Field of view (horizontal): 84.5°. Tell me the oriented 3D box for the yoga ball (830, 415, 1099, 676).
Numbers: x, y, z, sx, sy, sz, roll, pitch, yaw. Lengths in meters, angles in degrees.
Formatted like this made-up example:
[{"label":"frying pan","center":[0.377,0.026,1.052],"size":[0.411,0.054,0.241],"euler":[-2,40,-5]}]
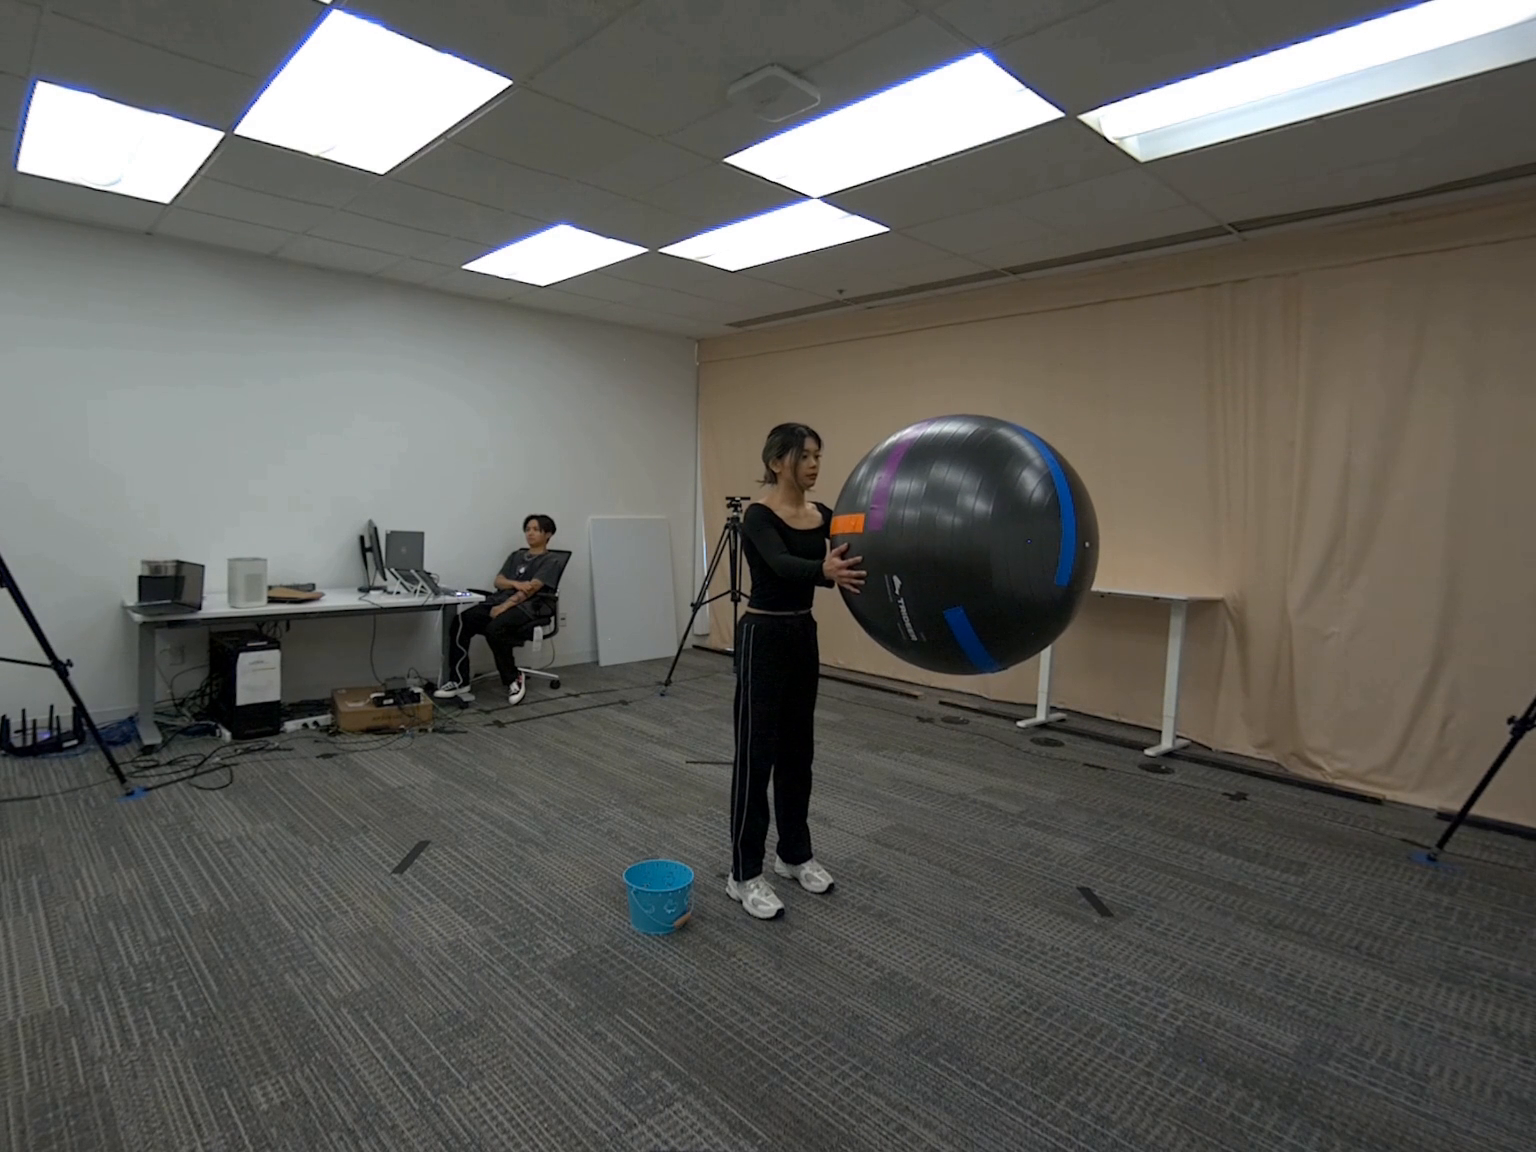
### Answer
[{"label":"yoga ball","center":[0.561,-0.080,2.458],"size":[0.757,0.756,0.761],"euler":[1,4,-1]}]
